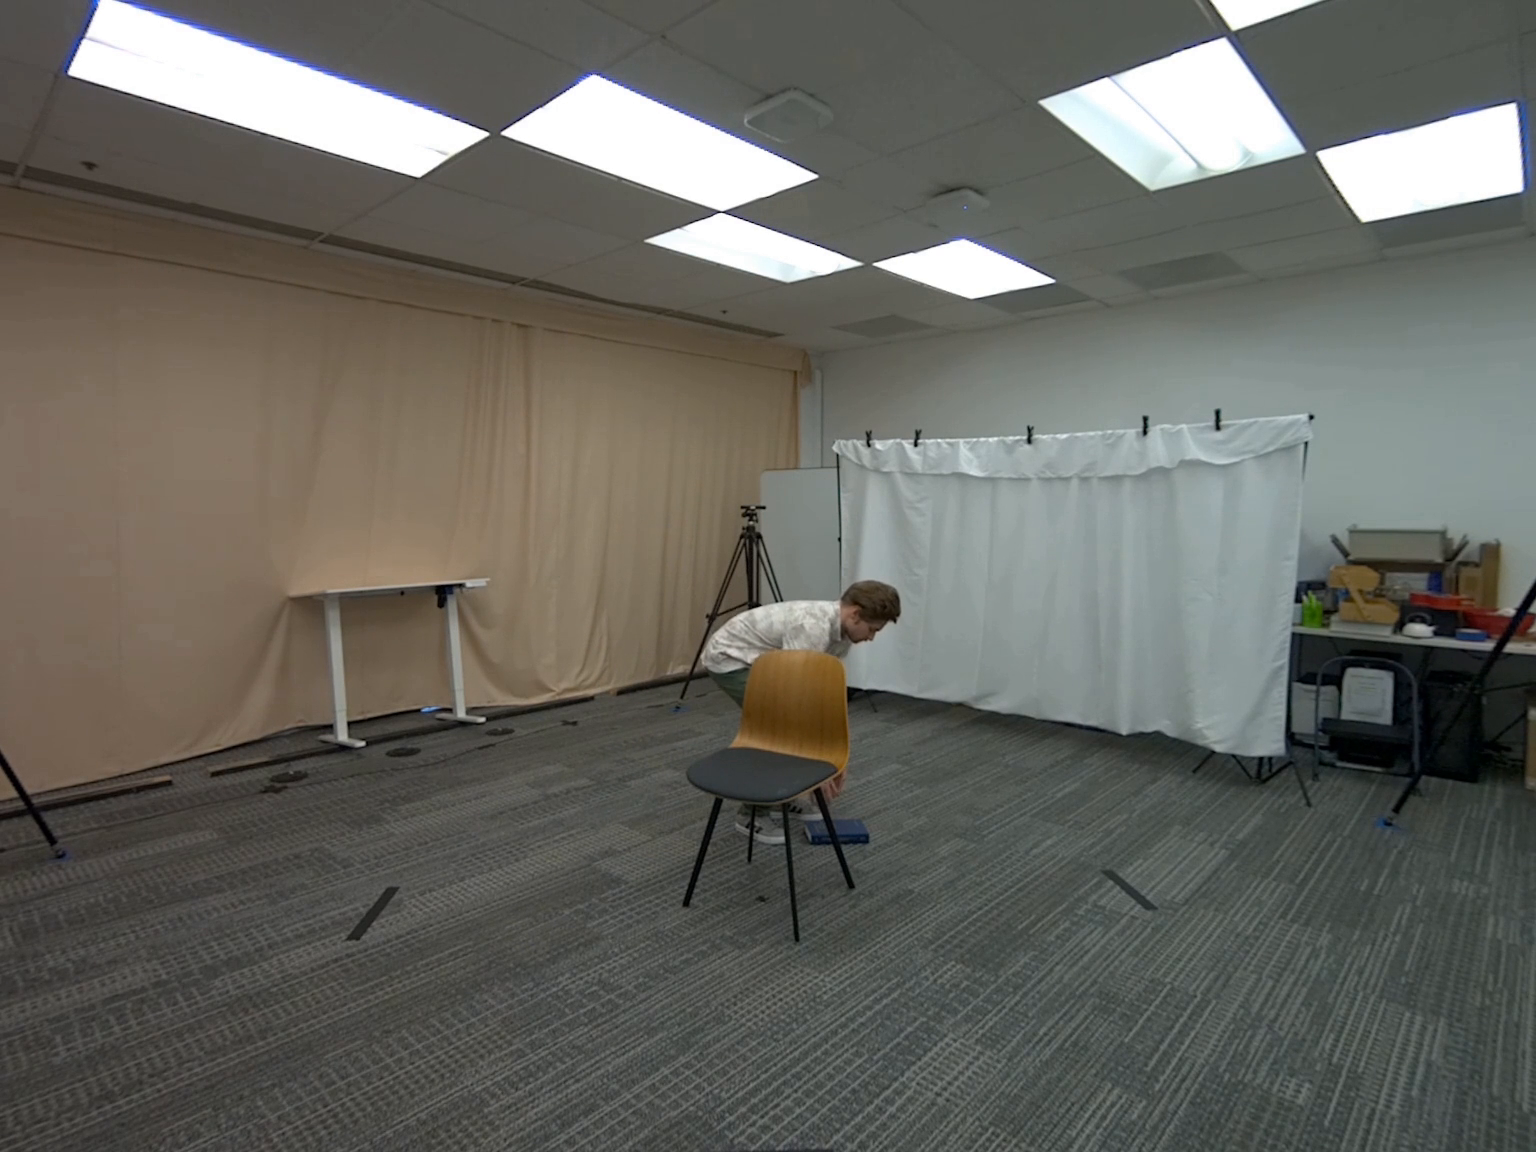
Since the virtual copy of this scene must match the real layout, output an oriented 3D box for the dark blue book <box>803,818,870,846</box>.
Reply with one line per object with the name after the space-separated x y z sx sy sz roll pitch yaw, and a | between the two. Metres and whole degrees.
0.291 1.074 3.539 0.244 0.045 0.165 -1 5 -6 | dark blue book
